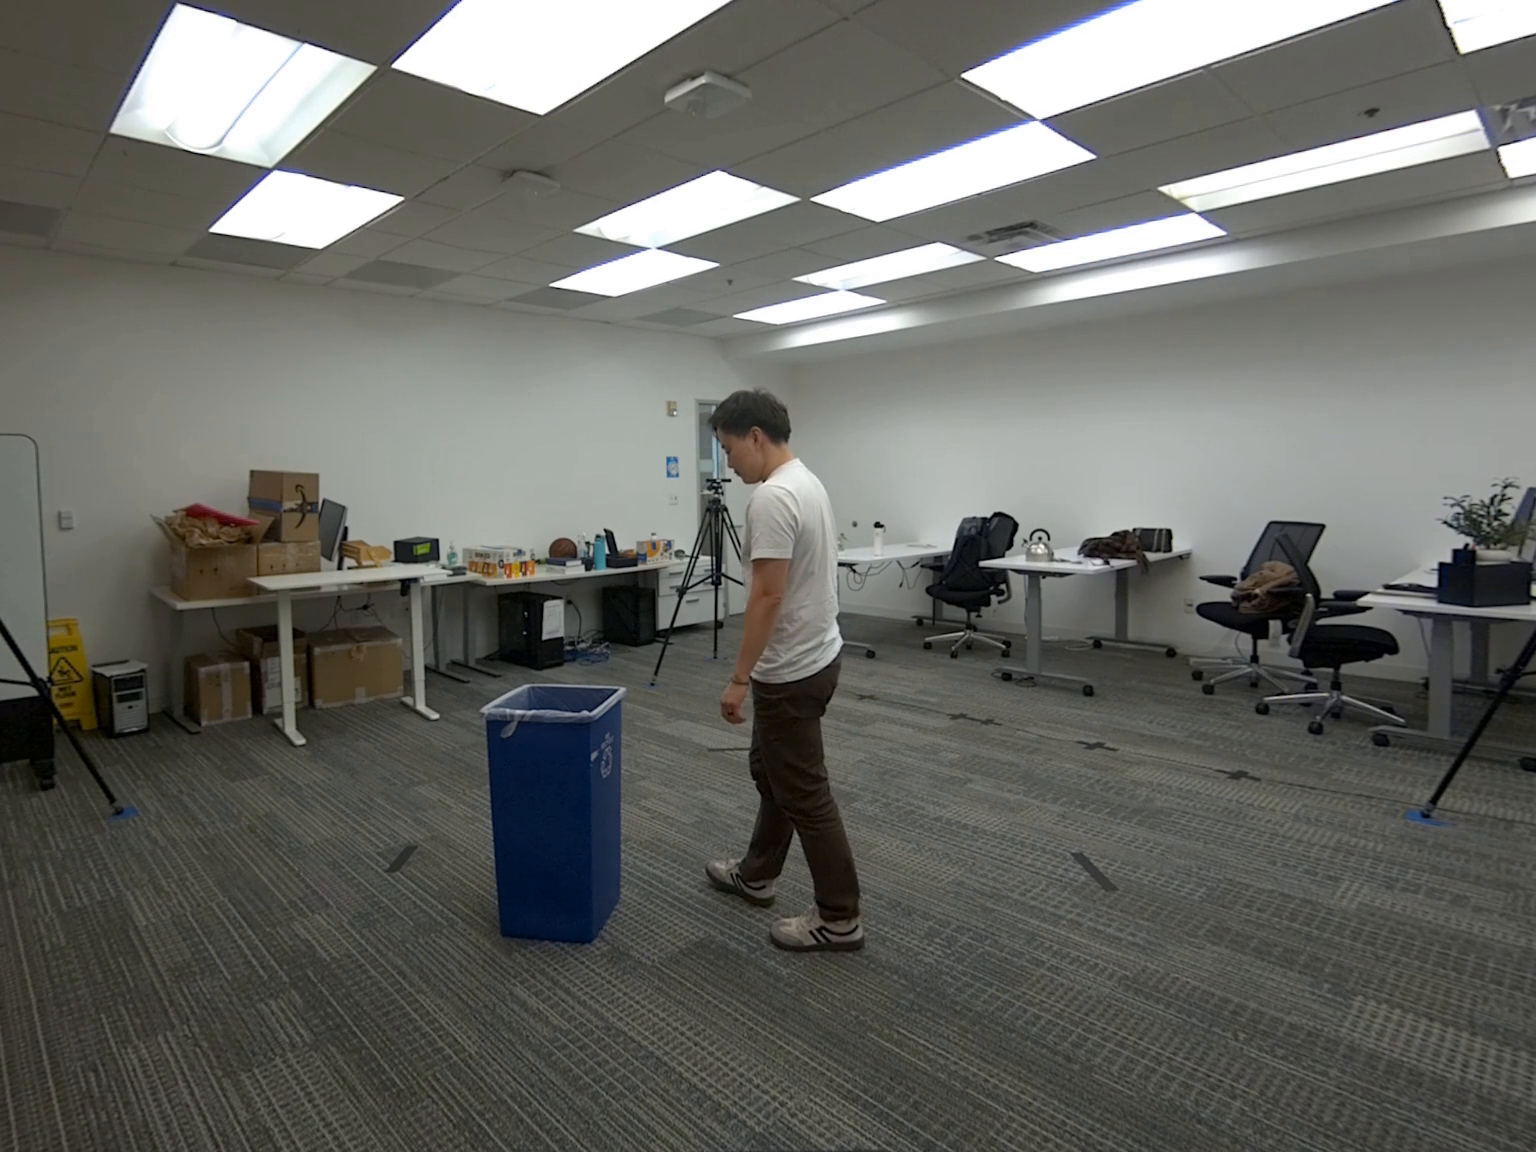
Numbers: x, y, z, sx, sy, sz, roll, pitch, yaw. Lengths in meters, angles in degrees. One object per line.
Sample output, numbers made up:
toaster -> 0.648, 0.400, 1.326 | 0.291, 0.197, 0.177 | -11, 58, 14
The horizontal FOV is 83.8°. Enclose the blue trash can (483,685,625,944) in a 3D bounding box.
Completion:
blue trash can -> -0.655, 0.743, 2.730 | 0.378, 0.711, 0.376 | -1, 4, 9
